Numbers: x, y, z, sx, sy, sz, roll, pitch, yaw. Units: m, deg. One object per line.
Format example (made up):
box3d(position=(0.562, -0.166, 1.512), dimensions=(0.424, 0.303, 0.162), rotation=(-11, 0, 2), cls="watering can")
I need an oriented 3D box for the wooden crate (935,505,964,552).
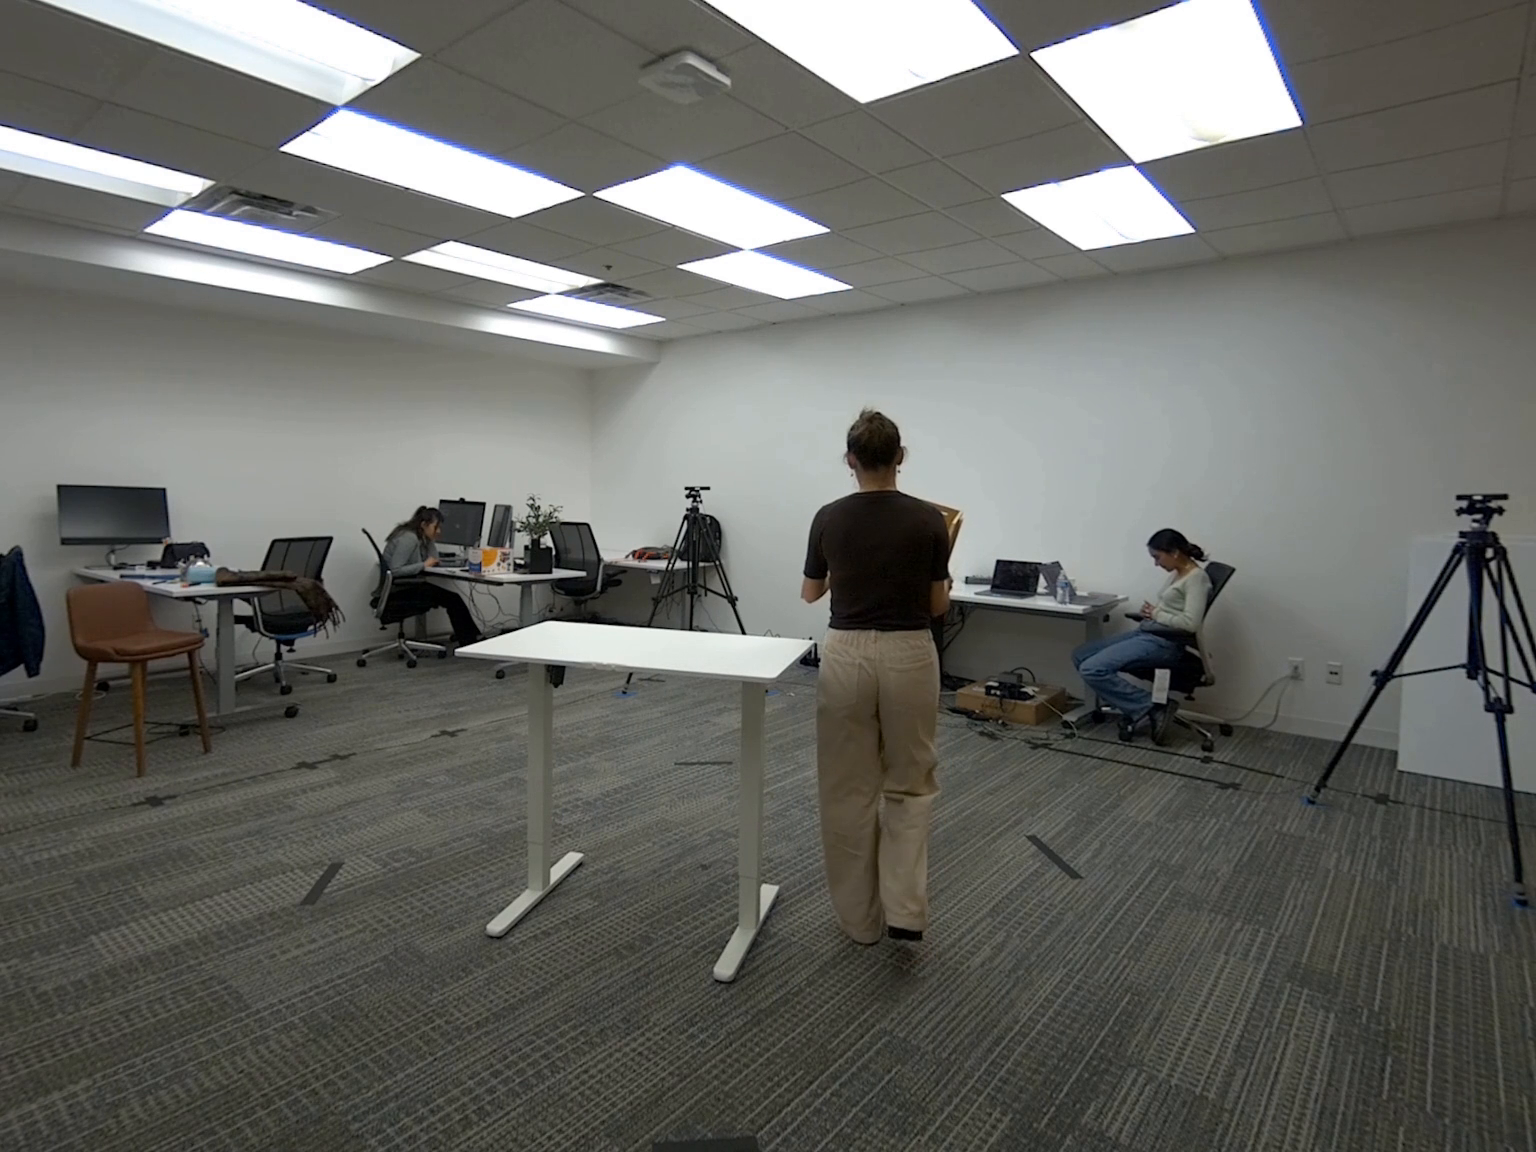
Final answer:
box3d(position=(0.454, -0.107, 2.903), dimensions=(0.332, 0.268, 0.300), rotation=(19, 28, 18), cls="wooden crate")
